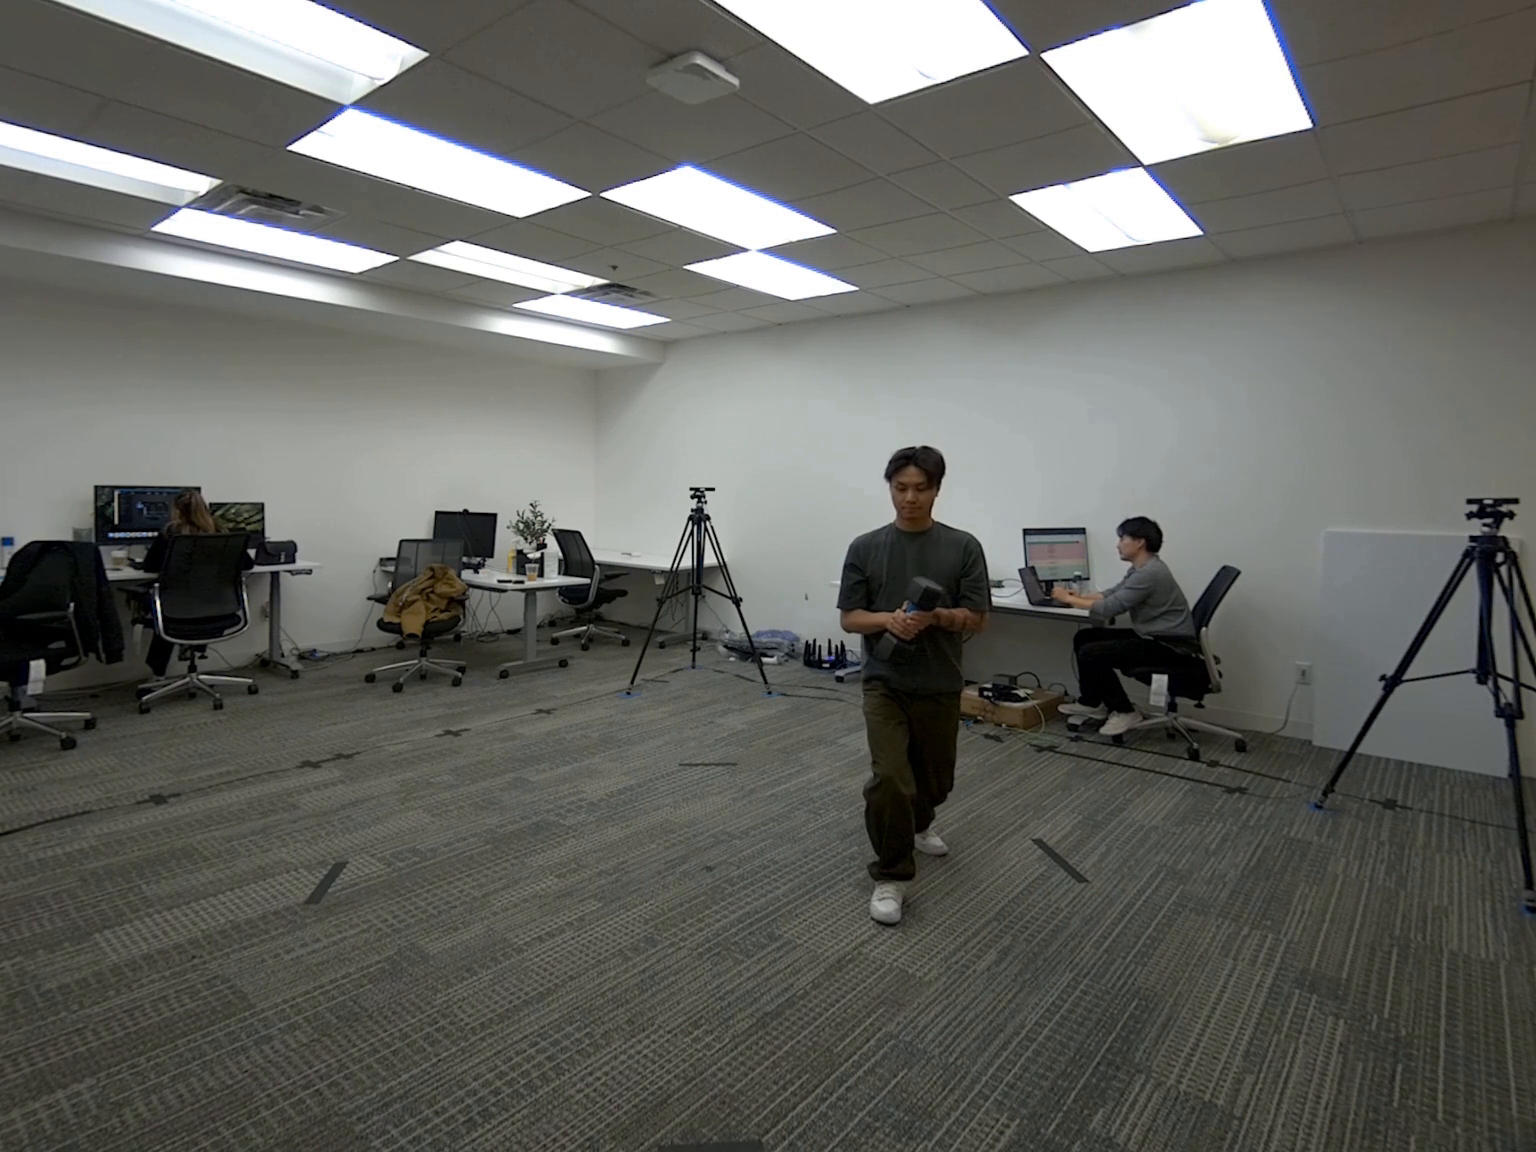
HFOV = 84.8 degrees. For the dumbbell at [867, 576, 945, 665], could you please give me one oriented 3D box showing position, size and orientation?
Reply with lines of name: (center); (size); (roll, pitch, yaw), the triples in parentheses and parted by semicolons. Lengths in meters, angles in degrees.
dumbbell: (0.475, 0.140, 2.853); (0.121, 0.291, 0.111); (22, 16, -13)
